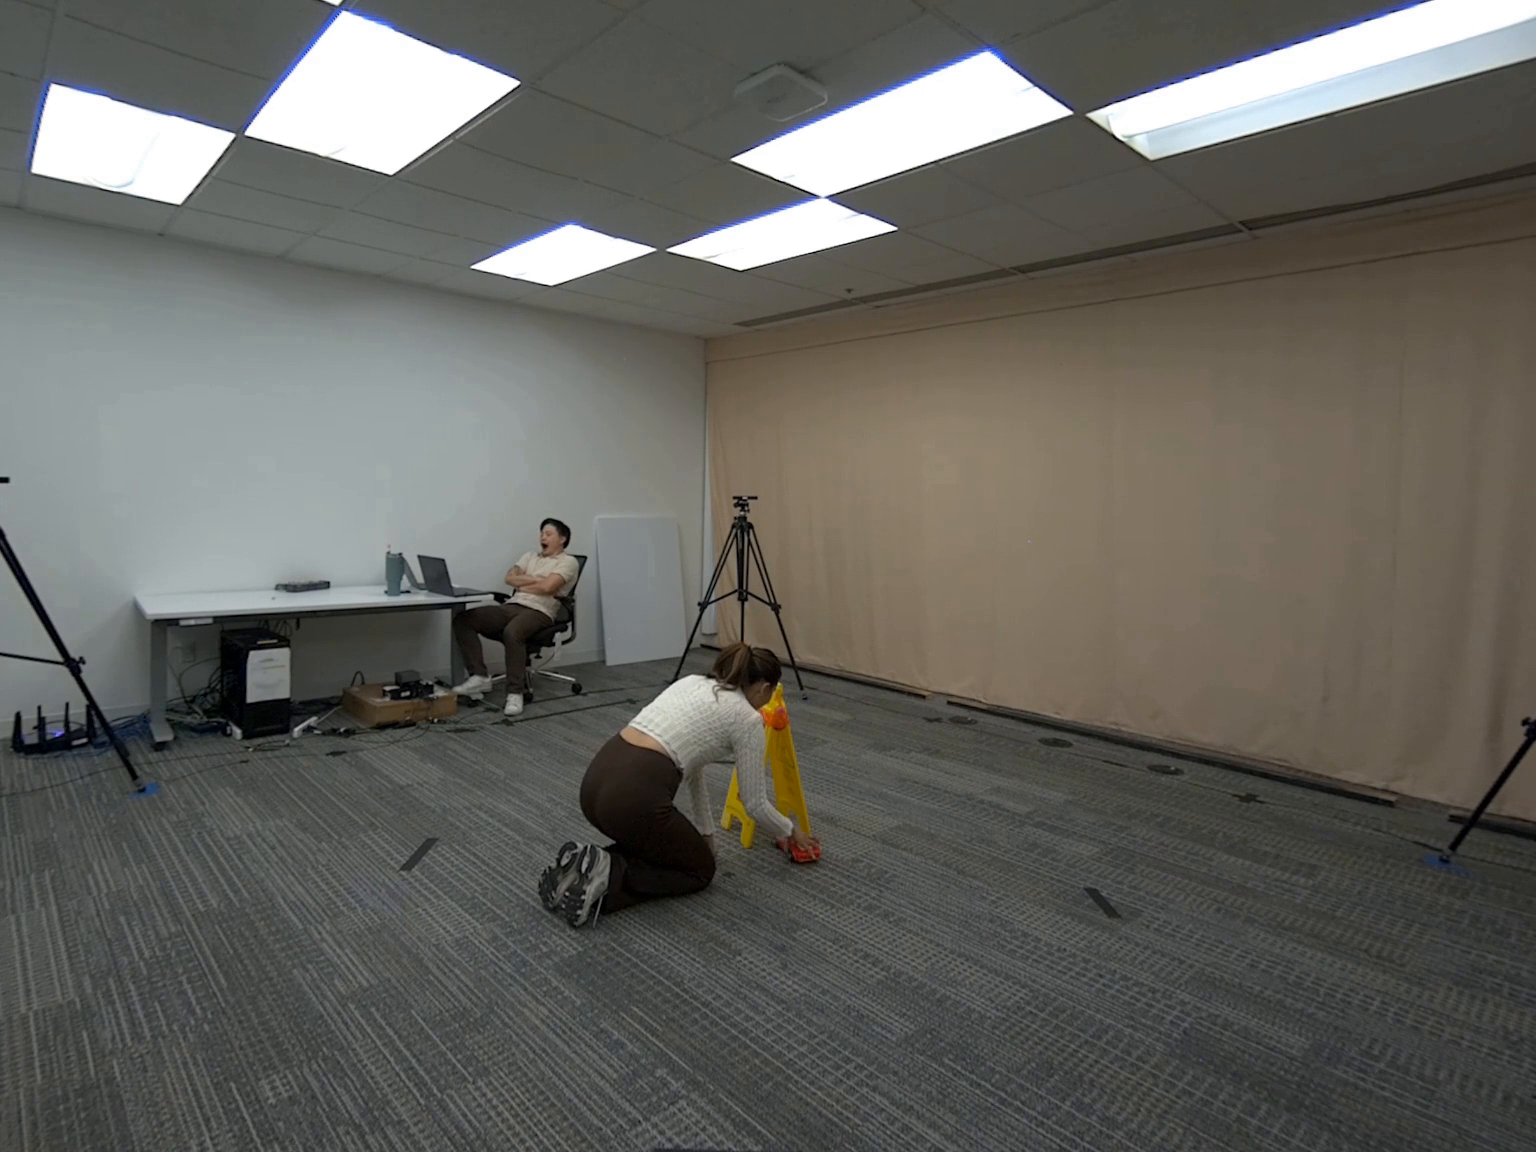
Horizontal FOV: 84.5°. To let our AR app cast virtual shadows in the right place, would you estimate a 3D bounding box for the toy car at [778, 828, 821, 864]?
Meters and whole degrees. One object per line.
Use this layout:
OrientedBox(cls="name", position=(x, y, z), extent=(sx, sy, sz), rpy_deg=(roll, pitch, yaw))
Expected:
OrientedBox(cls="toy car", position=(0.094, 1.060, 3.300), extent=(0.128, 0.083, 0.257), rpy_deg=(1, -6, -22))
